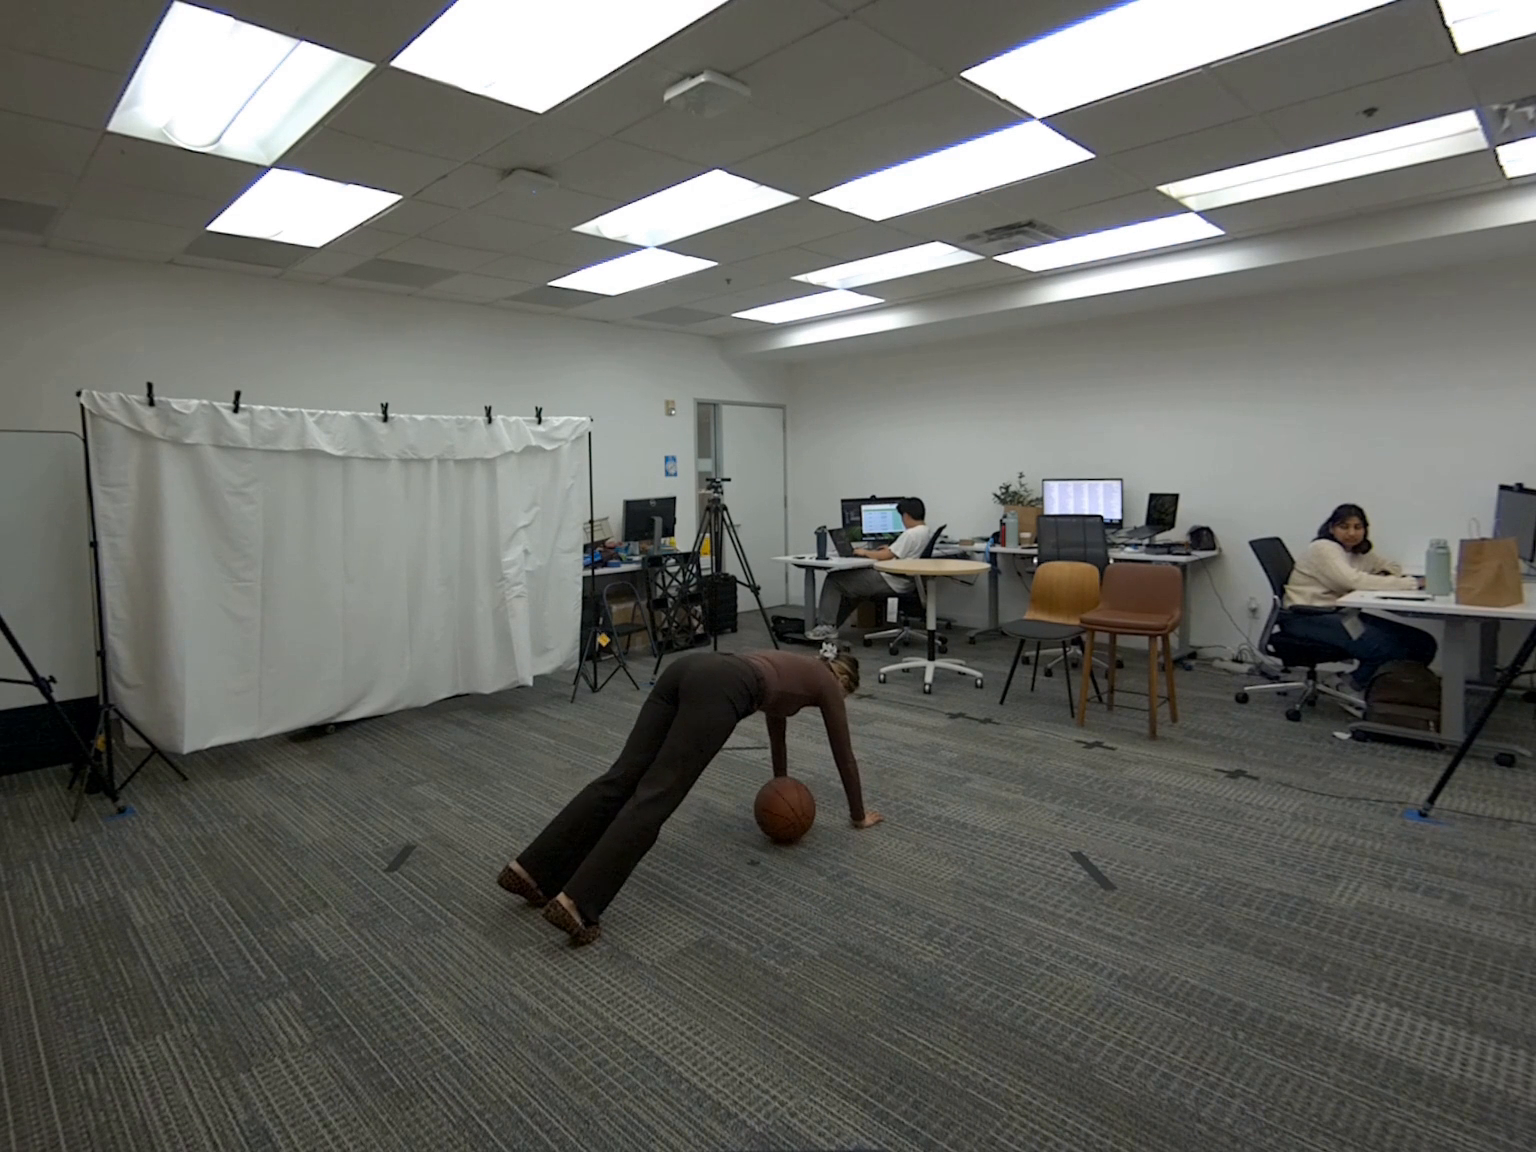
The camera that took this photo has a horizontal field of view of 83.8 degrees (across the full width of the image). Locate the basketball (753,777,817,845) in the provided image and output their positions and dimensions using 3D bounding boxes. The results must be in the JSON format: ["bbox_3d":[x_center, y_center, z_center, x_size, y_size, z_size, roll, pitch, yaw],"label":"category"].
[{"bbox_3d":[0.067,0.900,3.296,0.236,0.235,0.237,-1,5,-2],"label":"basketball"}]
